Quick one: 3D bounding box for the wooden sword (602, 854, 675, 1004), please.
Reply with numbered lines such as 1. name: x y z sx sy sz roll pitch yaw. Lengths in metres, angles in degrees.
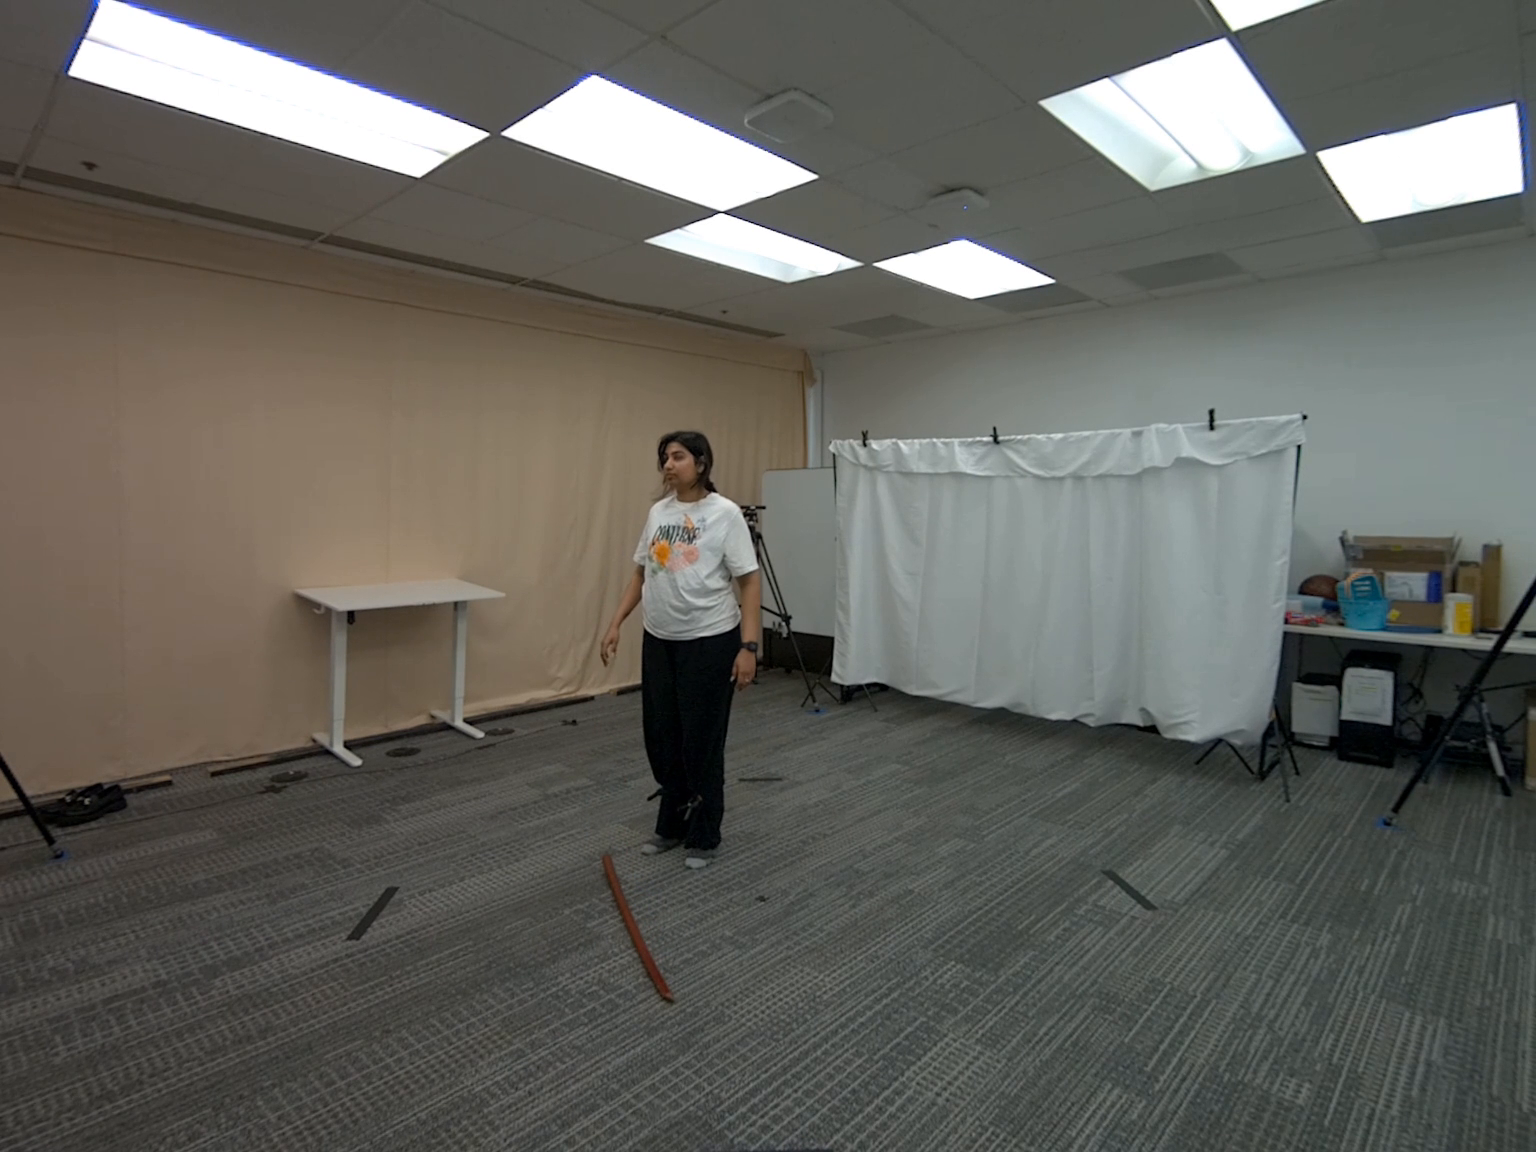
1. wooden sword: -0.455 1.135 2.838 0.024 0.051 1.046 -26 12 -16
